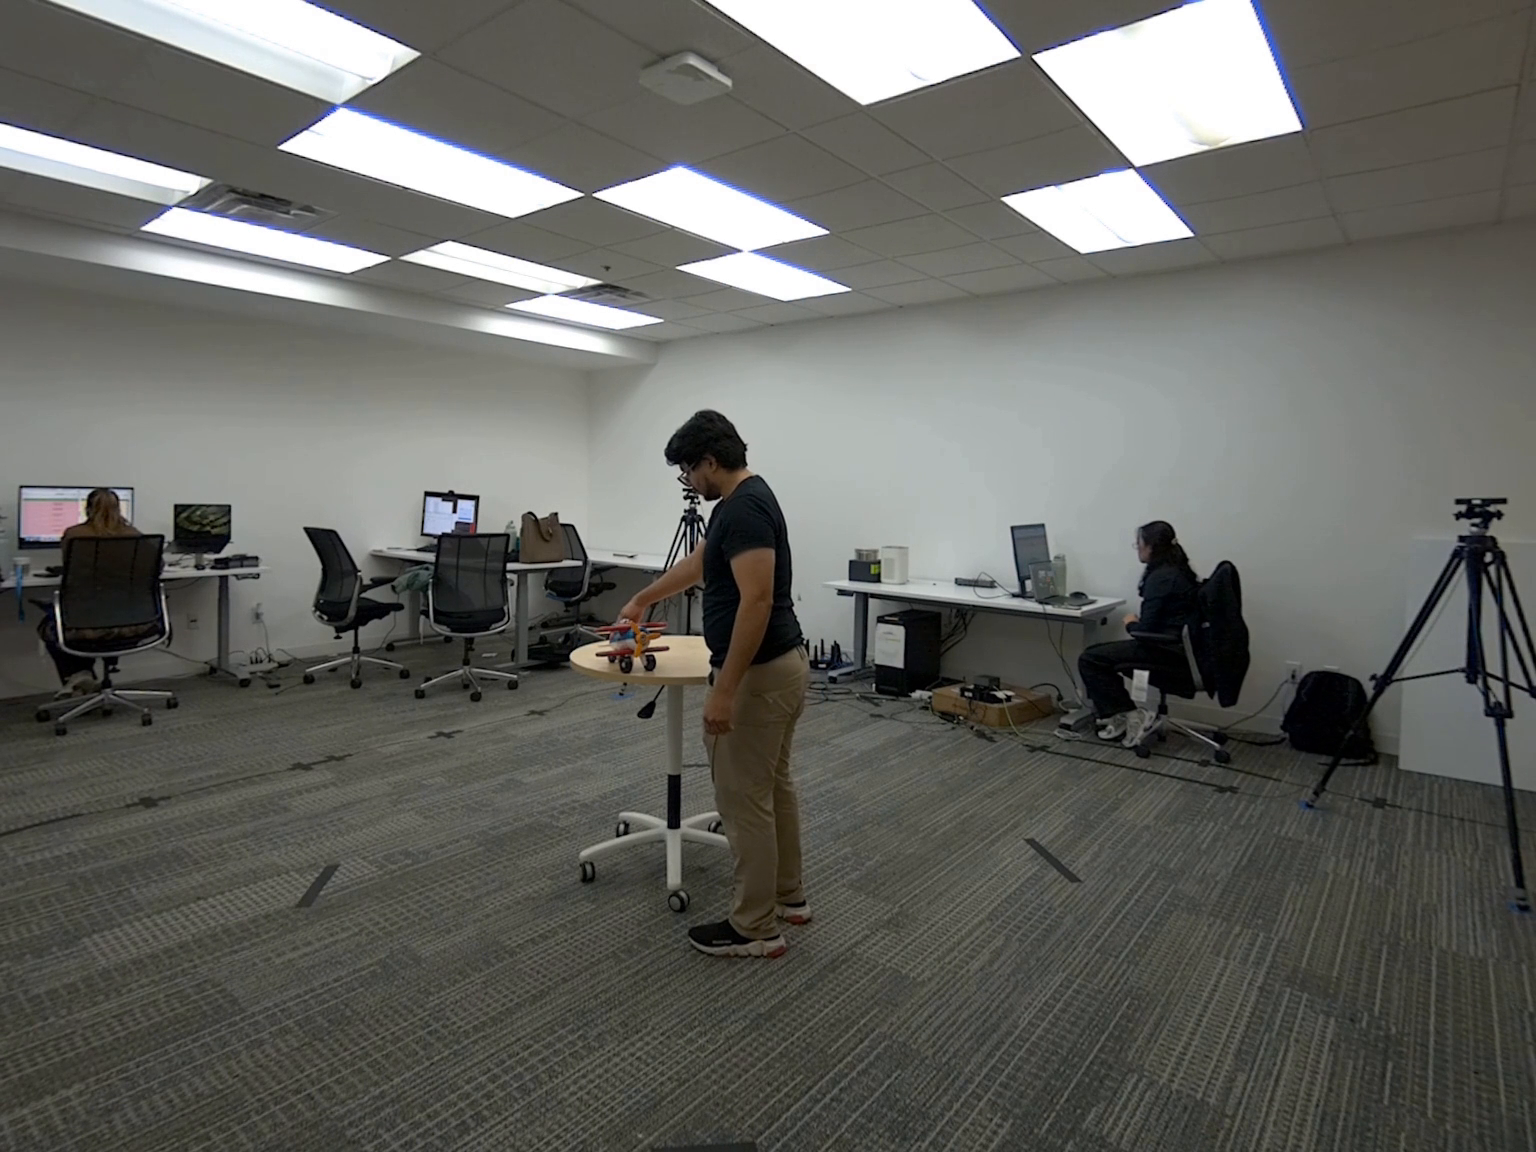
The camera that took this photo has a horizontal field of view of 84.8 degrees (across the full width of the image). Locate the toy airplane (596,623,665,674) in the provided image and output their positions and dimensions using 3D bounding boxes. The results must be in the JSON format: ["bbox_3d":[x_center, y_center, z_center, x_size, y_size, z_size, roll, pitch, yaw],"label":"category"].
[{"bbox_3d":[-0.497,0.230,2.865,0.267,0.156,0.244,6,7,32],"label":"toy airplane"}]
